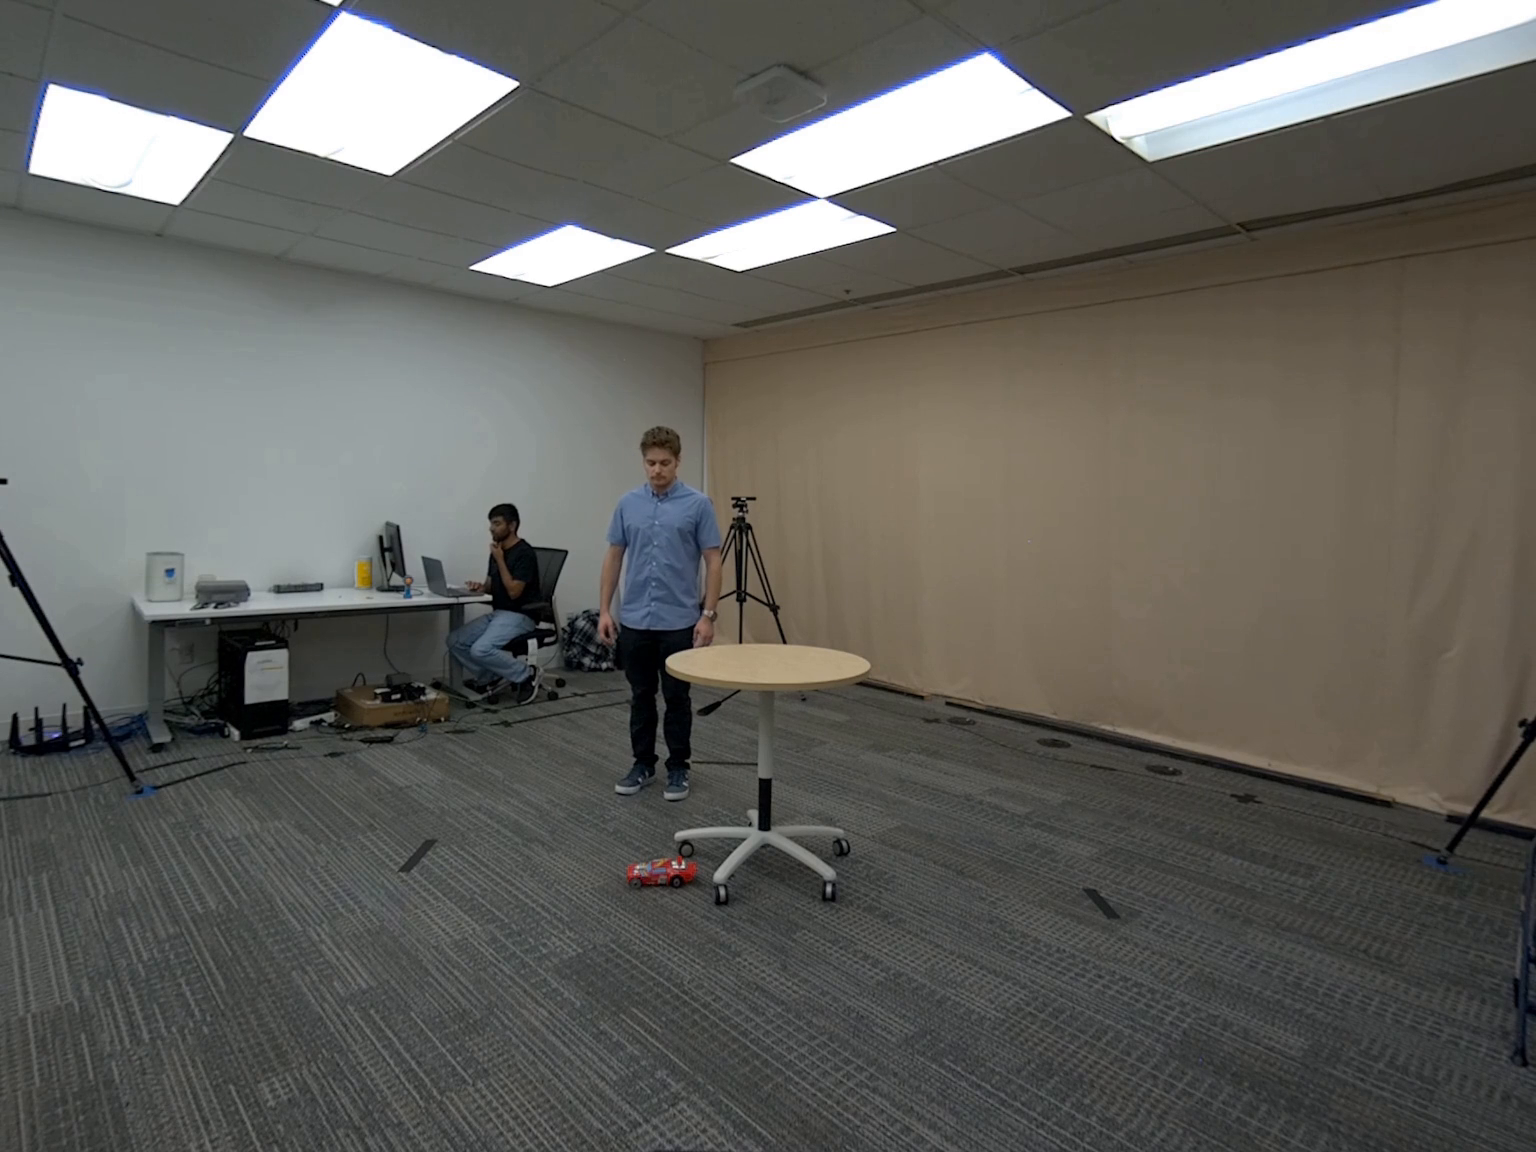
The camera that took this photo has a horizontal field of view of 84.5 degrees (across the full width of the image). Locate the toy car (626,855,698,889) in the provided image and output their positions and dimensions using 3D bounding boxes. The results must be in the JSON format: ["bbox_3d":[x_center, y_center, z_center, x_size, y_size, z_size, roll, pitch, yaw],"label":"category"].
[{"bbox_3d":[-0.392,1.079,3.036,0.254,0.083,0.131,-10,7,-3],"label":"toy car"}]
